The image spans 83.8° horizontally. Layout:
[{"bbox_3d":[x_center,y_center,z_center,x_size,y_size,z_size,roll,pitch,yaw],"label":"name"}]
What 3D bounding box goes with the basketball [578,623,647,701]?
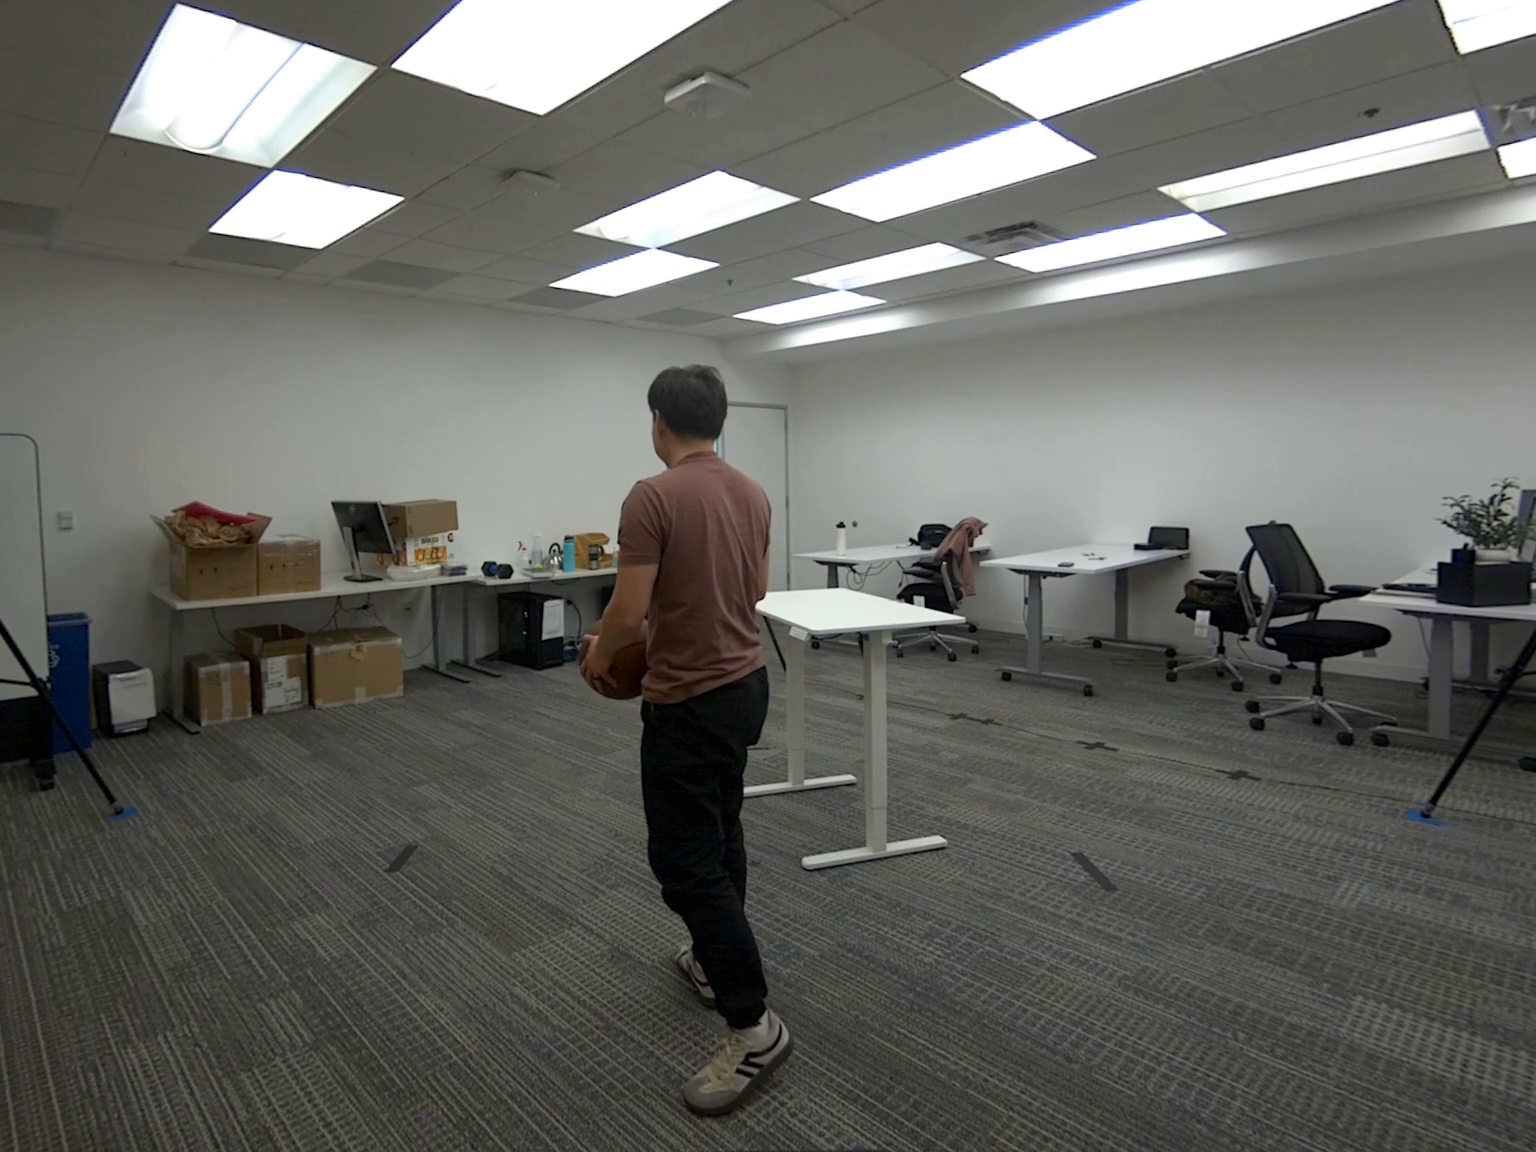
[{"bbox_3d":[-0.379,0.223,2.335,0.236,0.235,0.237,-1,5,-2],"label":"basketball"}]
